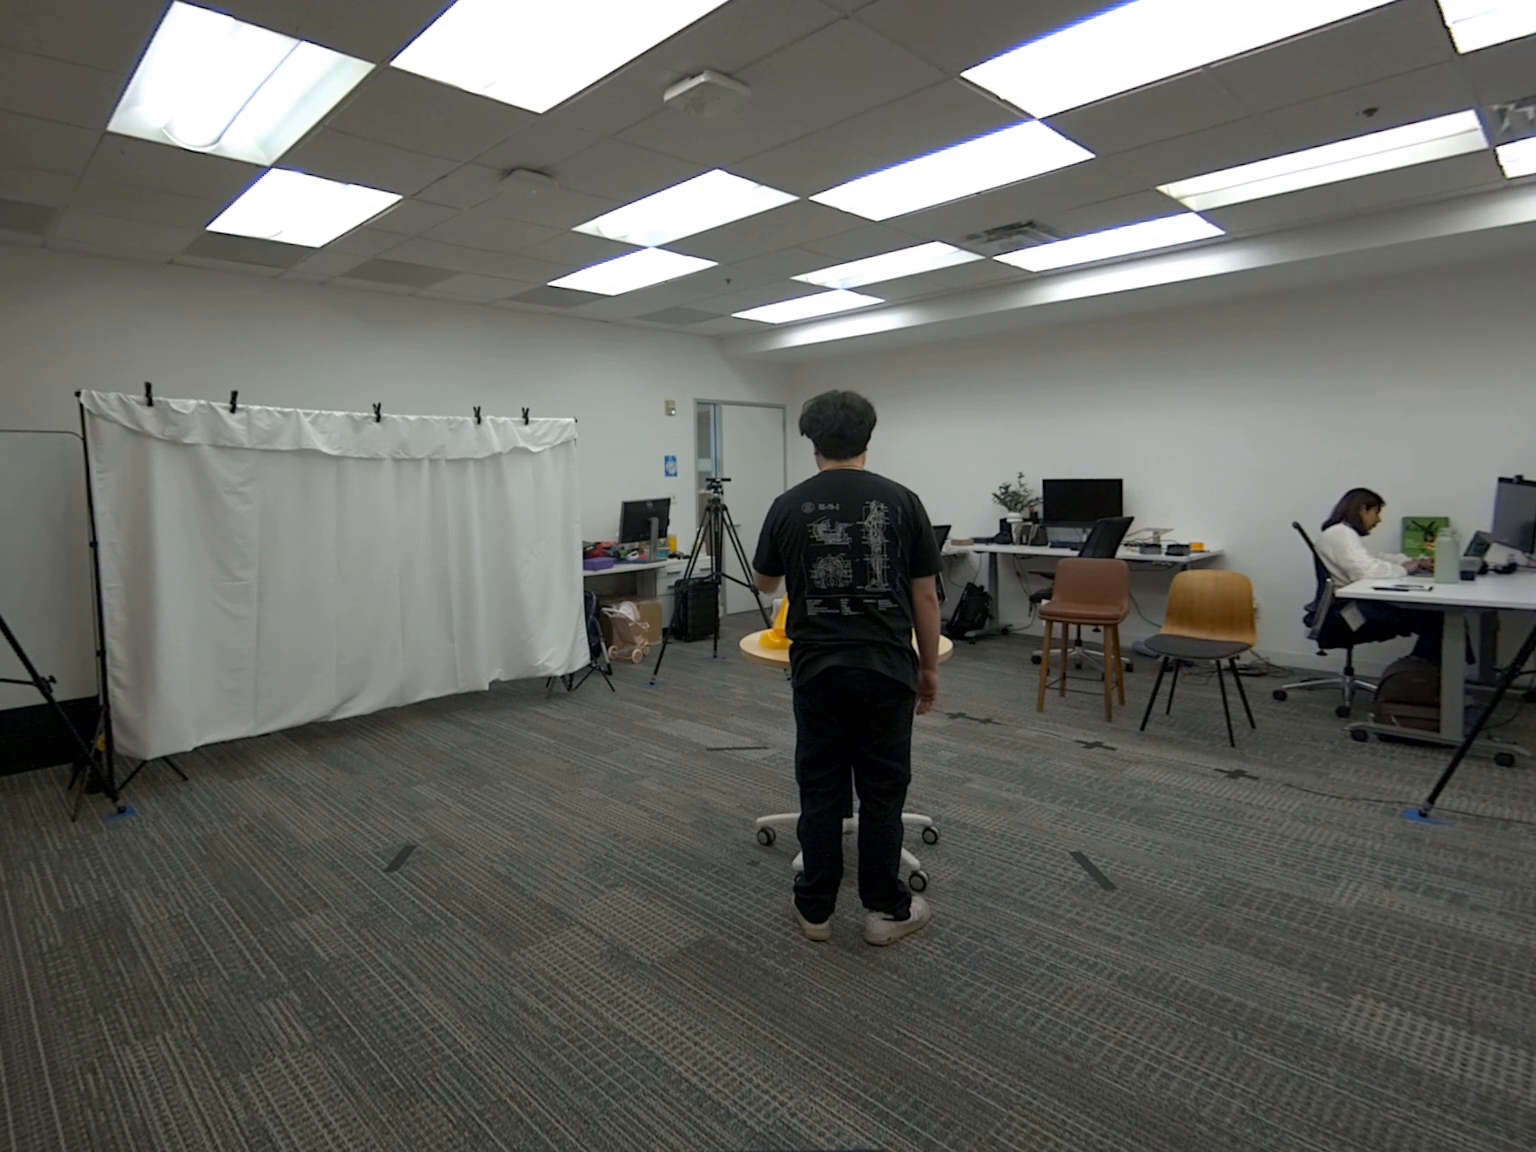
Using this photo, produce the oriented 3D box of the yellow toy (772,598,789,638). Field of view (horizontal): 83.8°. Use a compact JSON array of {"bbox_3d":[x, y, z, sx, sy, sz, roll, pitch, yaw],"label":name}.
[{"bbox_3d":[0.082,0.134,3.104,0.199,0.230,0.199,-5,5,-36],"label":"yellow toy"}]
